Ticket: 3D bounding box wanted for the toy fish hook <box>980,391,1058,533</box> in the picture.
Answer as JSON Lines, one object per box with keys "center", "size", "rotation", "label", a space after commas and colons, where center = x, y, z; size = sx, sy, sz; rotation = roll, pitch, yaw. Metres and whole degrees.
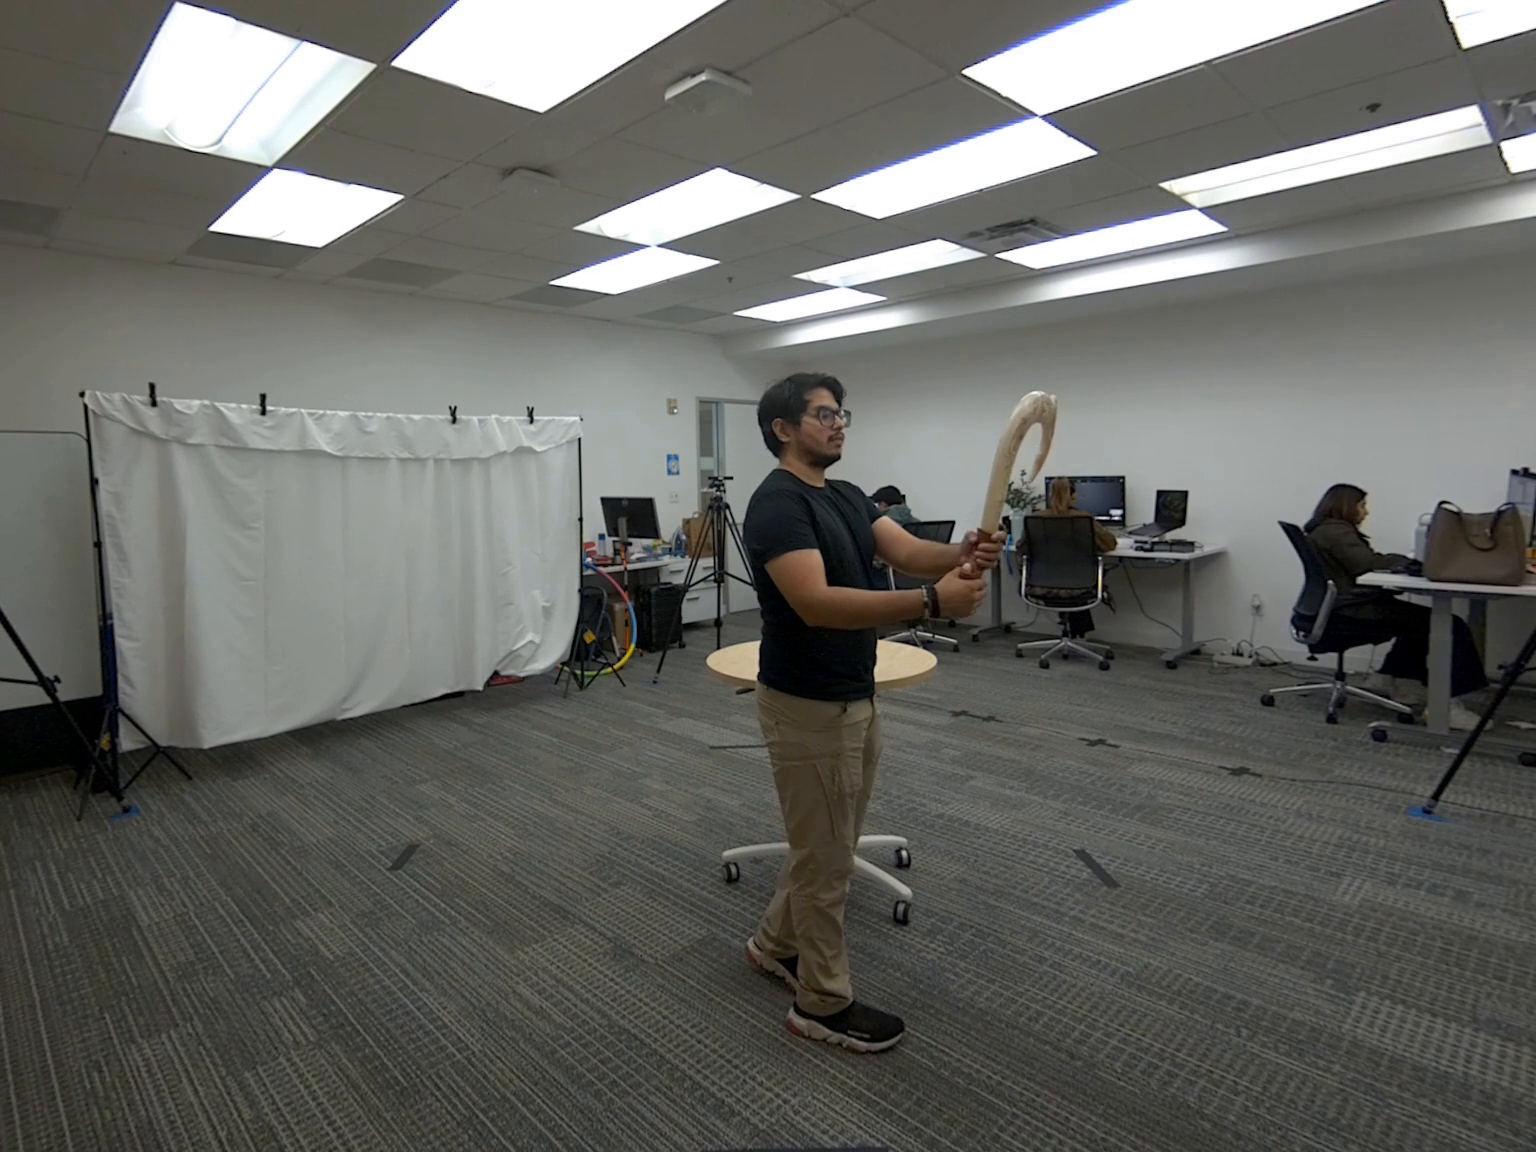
{"center": [0.524, -0.144, 1.846], "size": [0.218, 0.503, 0.050], "rotation": [3, 17, -46], "label": "toy fish hook"}
